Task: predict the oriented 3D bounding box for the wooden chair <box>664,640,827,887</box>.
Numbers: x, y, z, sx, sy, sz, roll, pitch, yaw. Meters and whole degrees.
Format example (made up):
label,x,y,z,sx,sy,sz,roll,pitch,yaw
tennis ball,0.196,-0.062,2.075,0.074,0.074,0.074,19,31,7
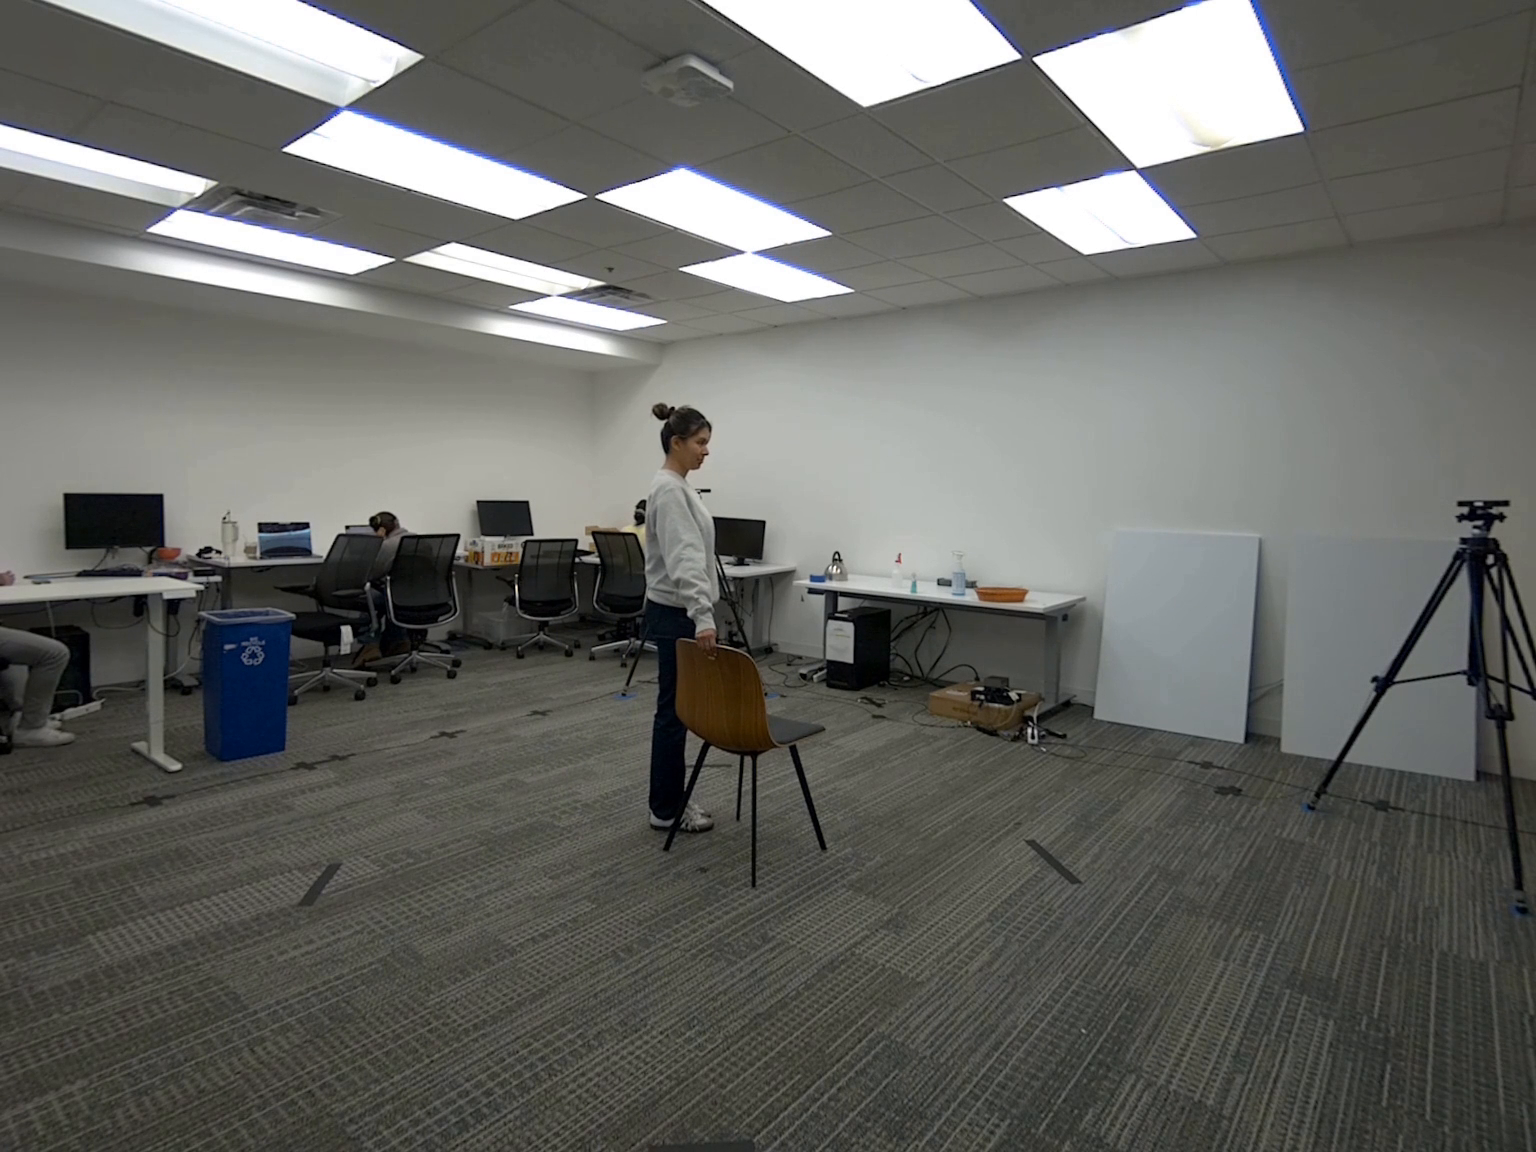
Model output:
label,x,y,z,sx,sy,sz,roll,pitch,yaw
wooden chair,-0.081,0.635,3.267,0.494,0.872,0.509,3,8,39
